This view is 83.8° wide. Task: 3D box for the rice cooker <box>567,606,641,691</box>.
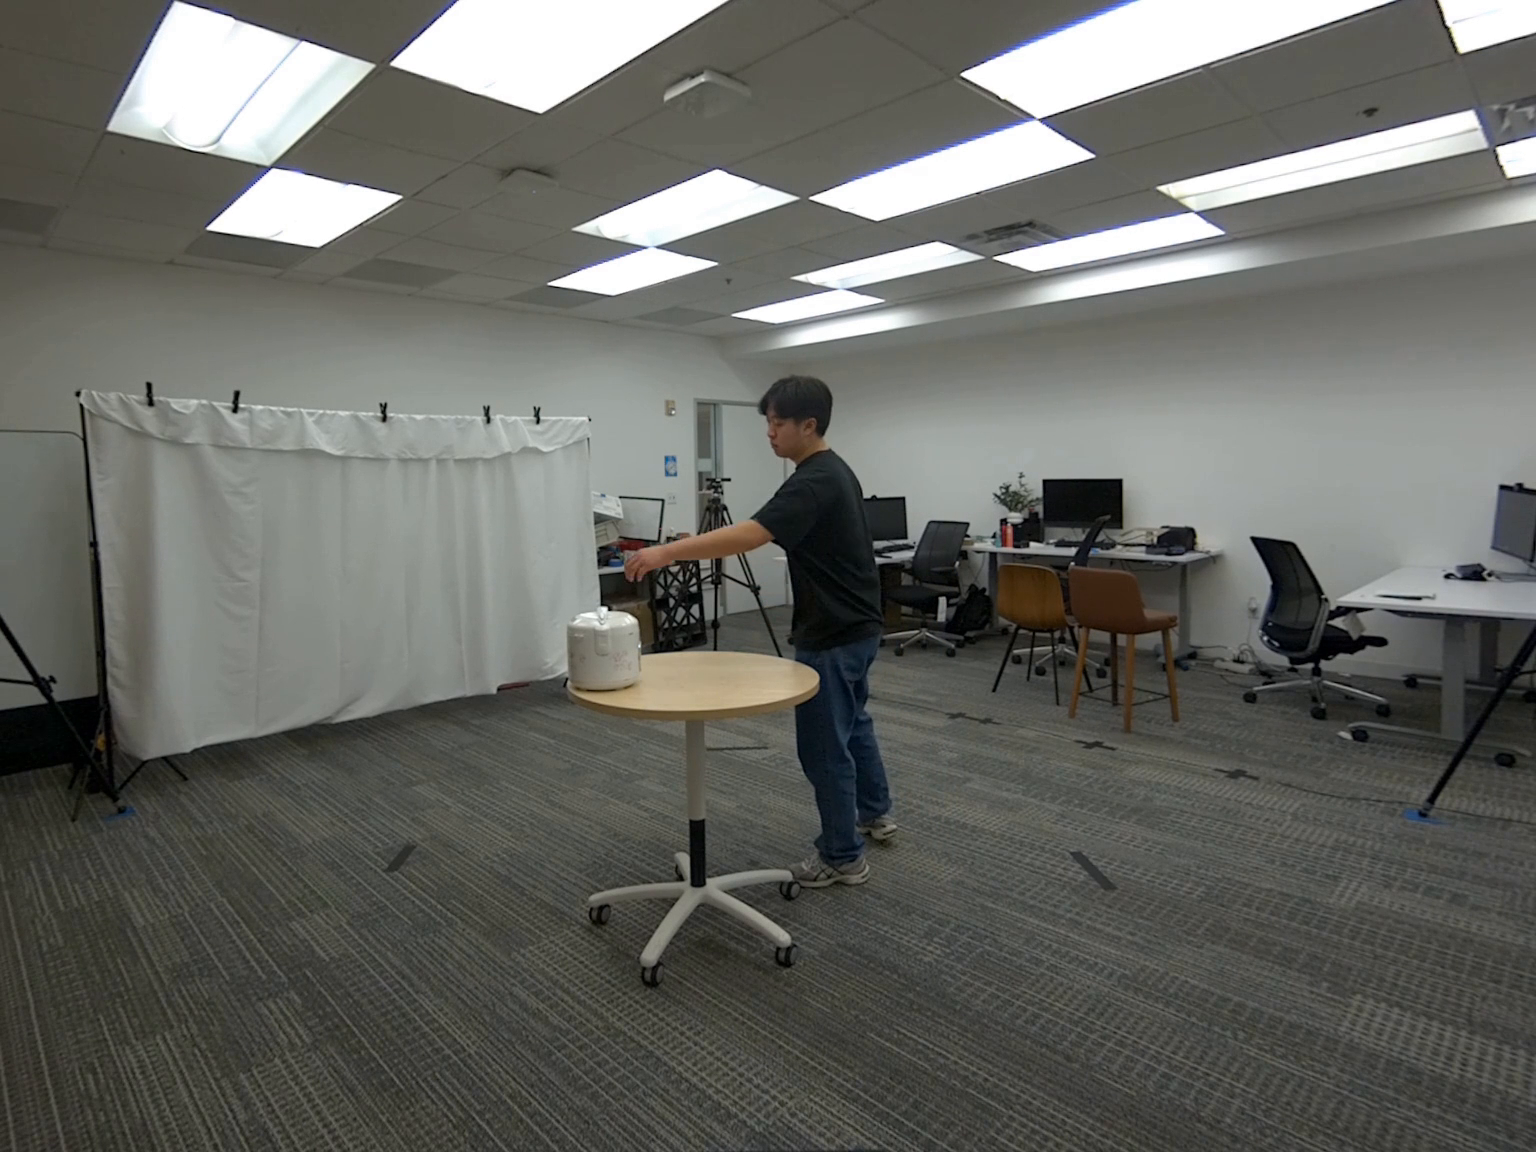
[{"bbox_3d":[-0.485,0.208,2.526,0.216,0.232,0.223,-3,6,-8],"label":"rice cooker"}]
